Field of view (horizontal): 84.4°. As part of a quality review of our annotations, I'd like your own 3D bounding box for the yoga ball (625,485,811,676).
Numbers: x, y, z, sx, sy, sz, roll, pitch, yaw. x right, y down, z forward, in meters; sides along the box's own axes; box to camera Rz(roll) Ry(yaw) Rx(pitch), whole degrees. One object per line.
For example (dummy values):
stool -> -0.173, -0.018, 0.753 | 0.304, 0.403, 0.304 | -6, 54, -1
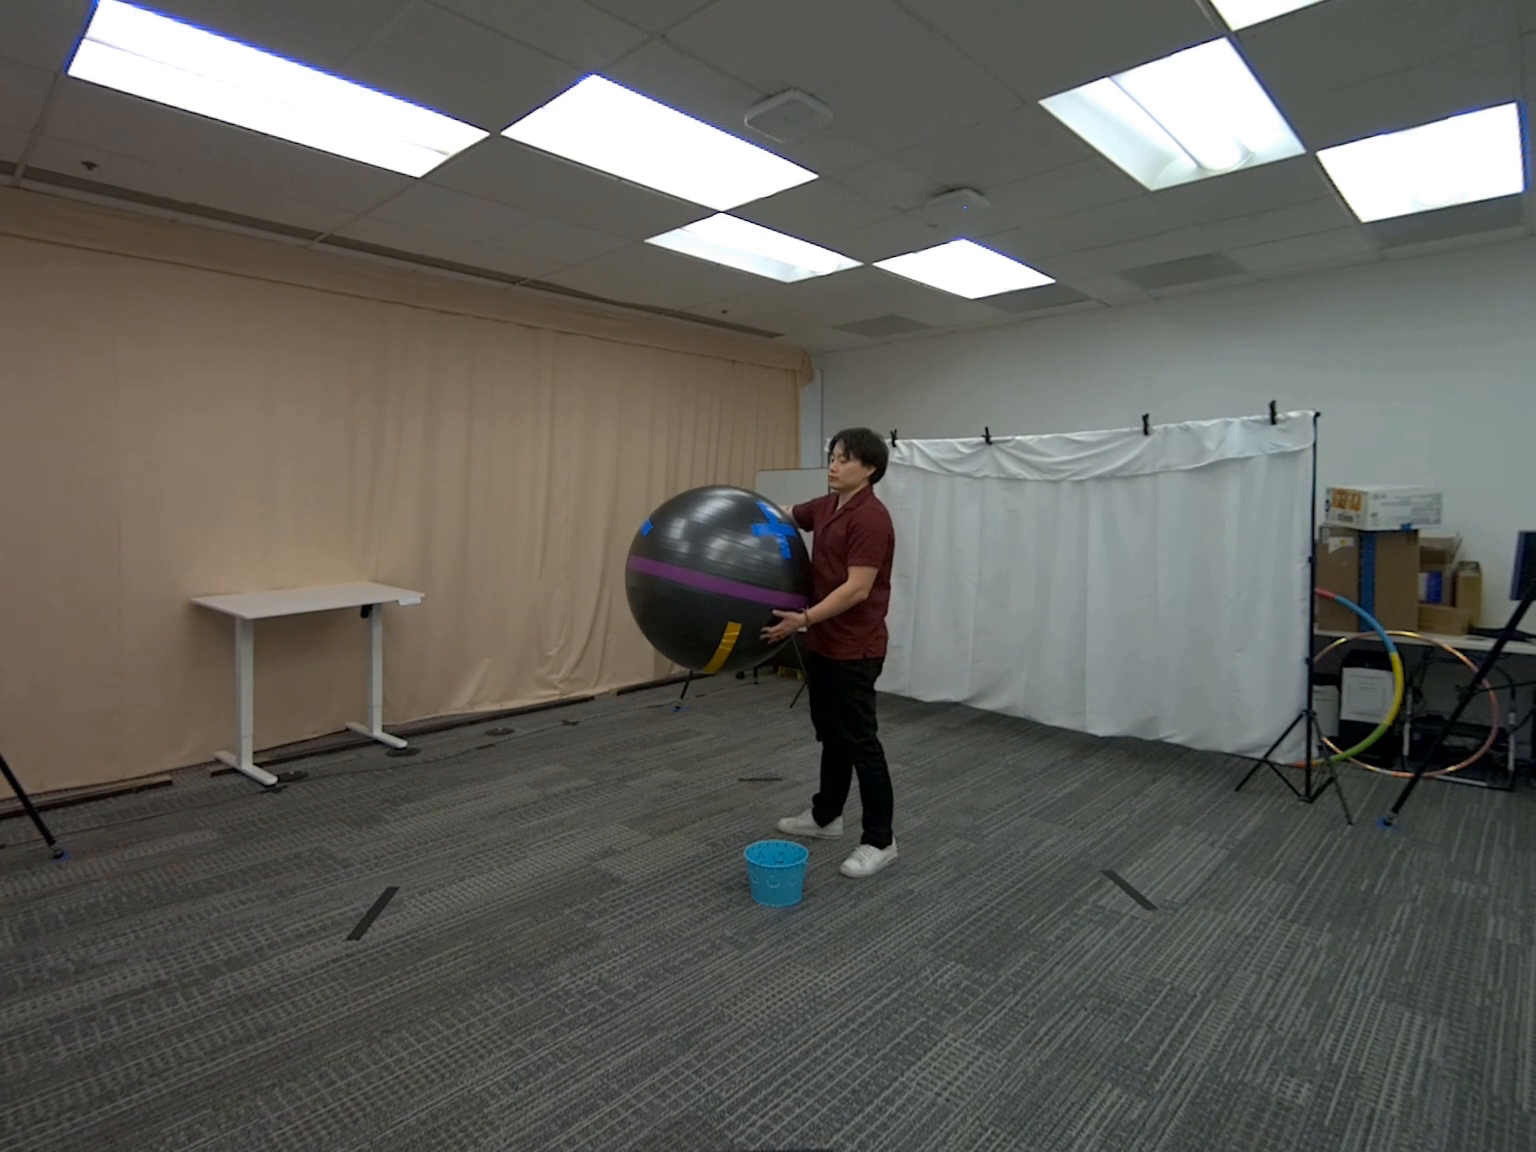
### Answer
yoga ball -> -0.198, 0.018, 3.433 | 0.757, 0.756, 0.761 | 0, 4, -2
